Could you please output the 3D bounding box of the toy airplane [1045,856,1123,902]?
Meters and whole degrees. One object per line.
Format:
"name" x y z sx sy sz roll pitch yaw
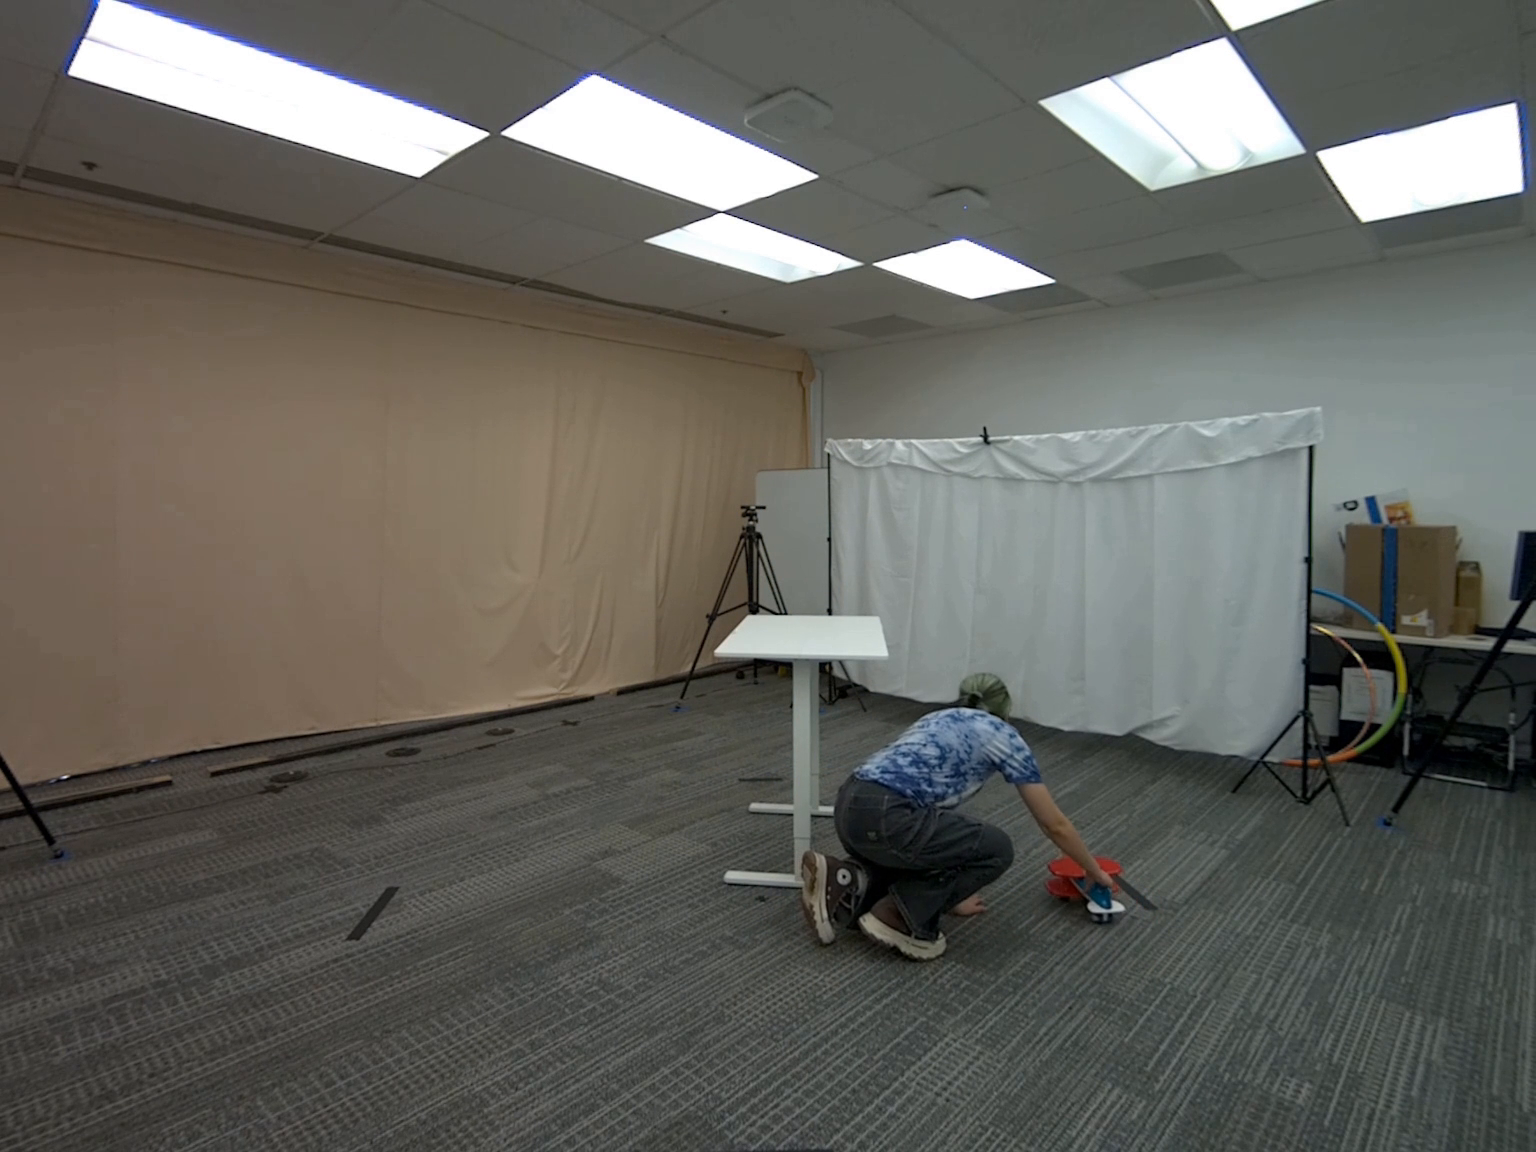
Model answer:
"toy airplane" 1.137 1.079 2.890 0.244 0.156 0.267 -1 3 -34
